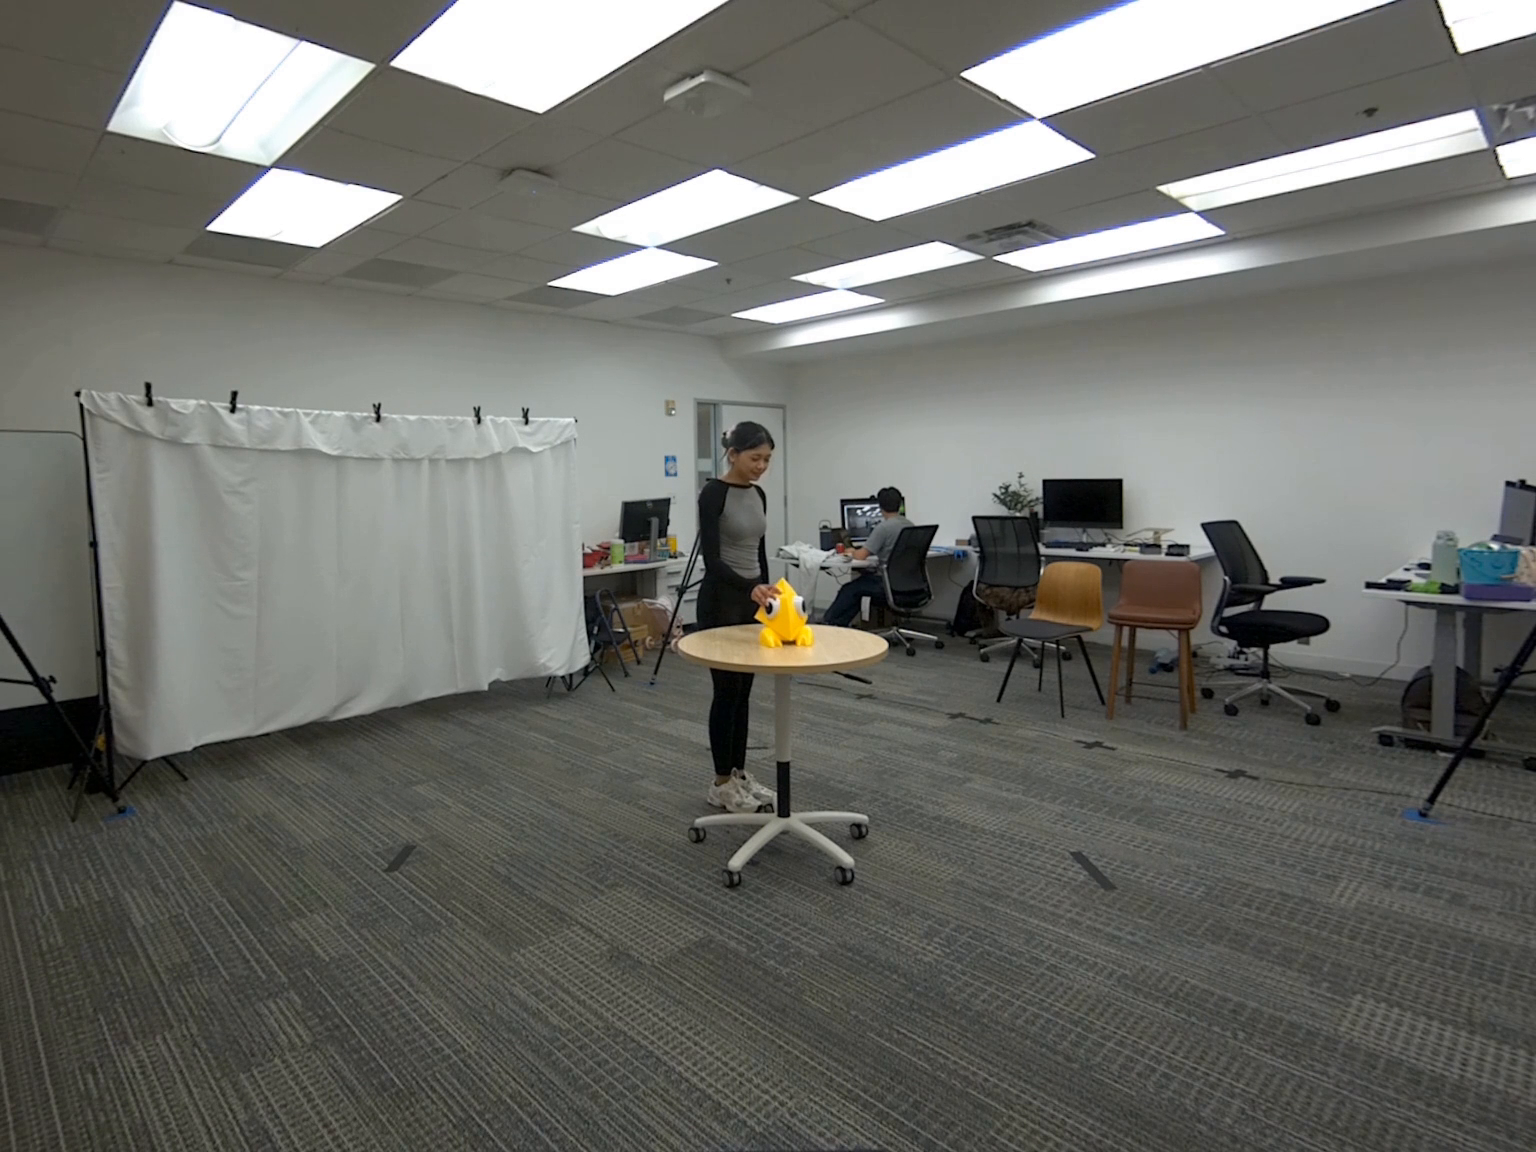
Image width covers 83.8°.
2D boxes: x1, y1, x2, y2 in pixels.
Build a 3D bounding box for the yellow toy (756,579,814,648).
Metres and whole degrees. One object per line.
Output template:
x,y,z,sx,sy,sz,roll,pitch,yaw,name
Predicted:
0.070,0.129,3.134,0.203,0.230,0.195,-1,5,-9,yellow toy
